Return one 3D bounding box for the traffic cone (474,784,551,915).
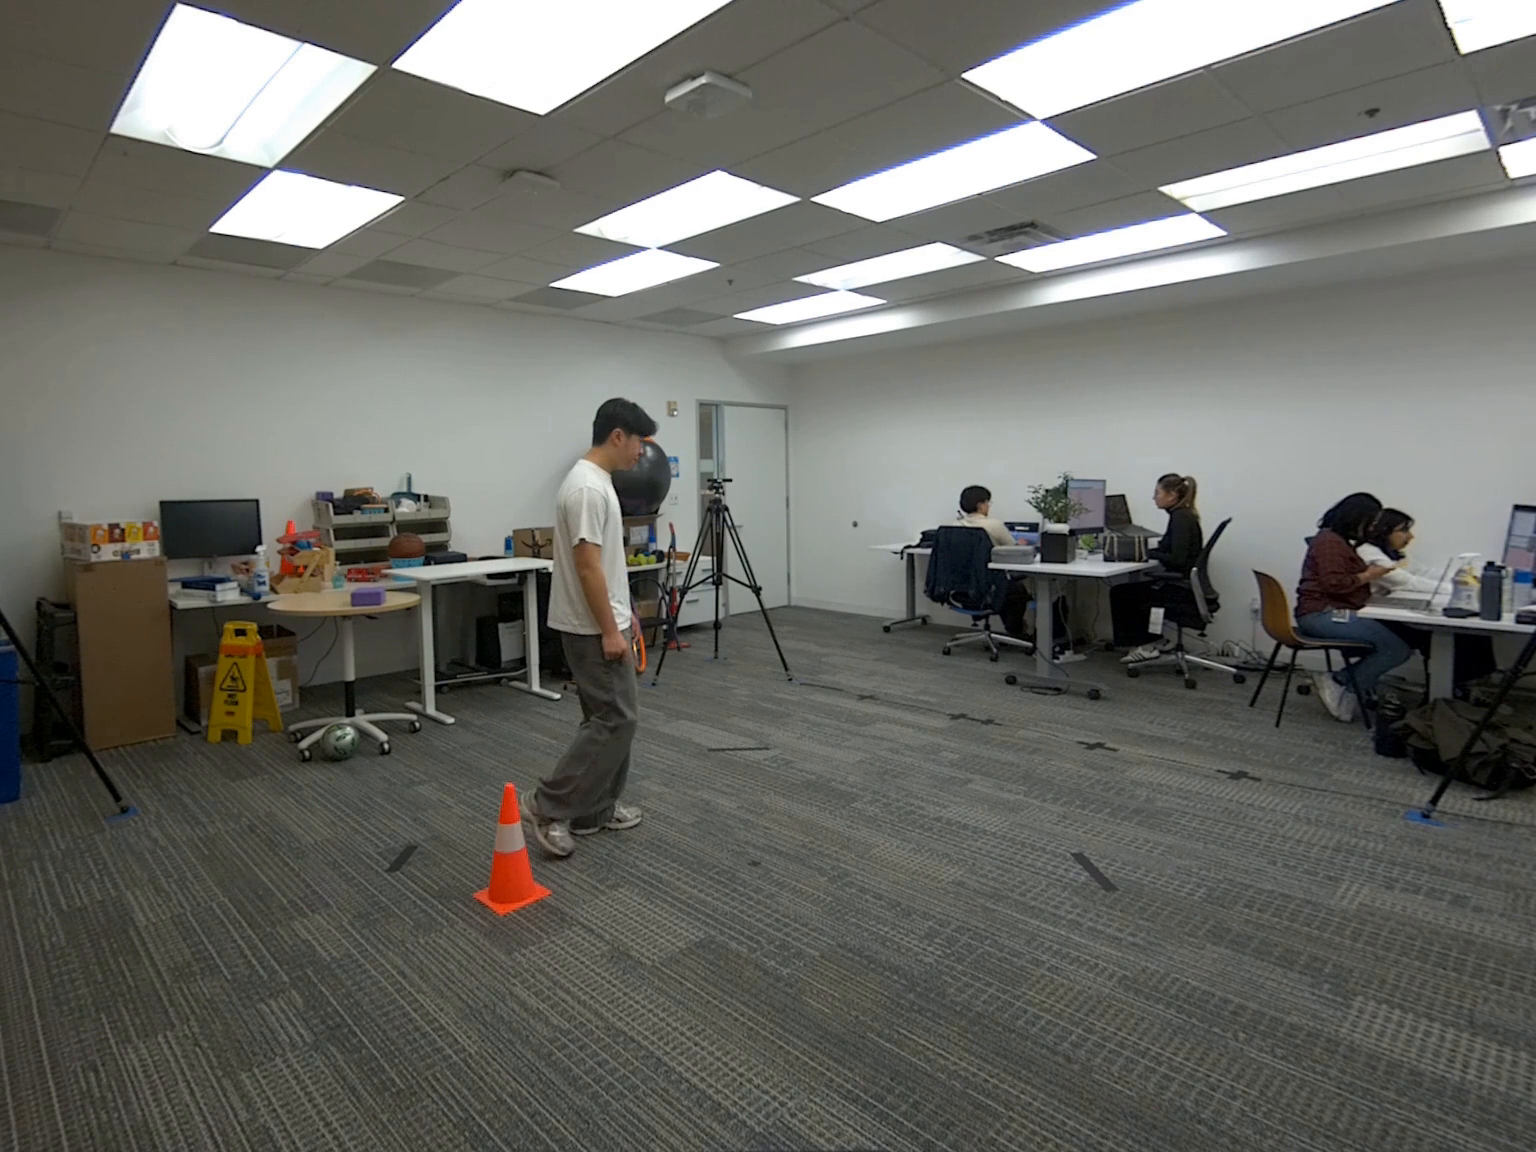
[{"bbox_3d":[-0.883,0.904,2.907,0.200,0.383,0.209,-6,4,-40],"label":"traffic cone"}]
